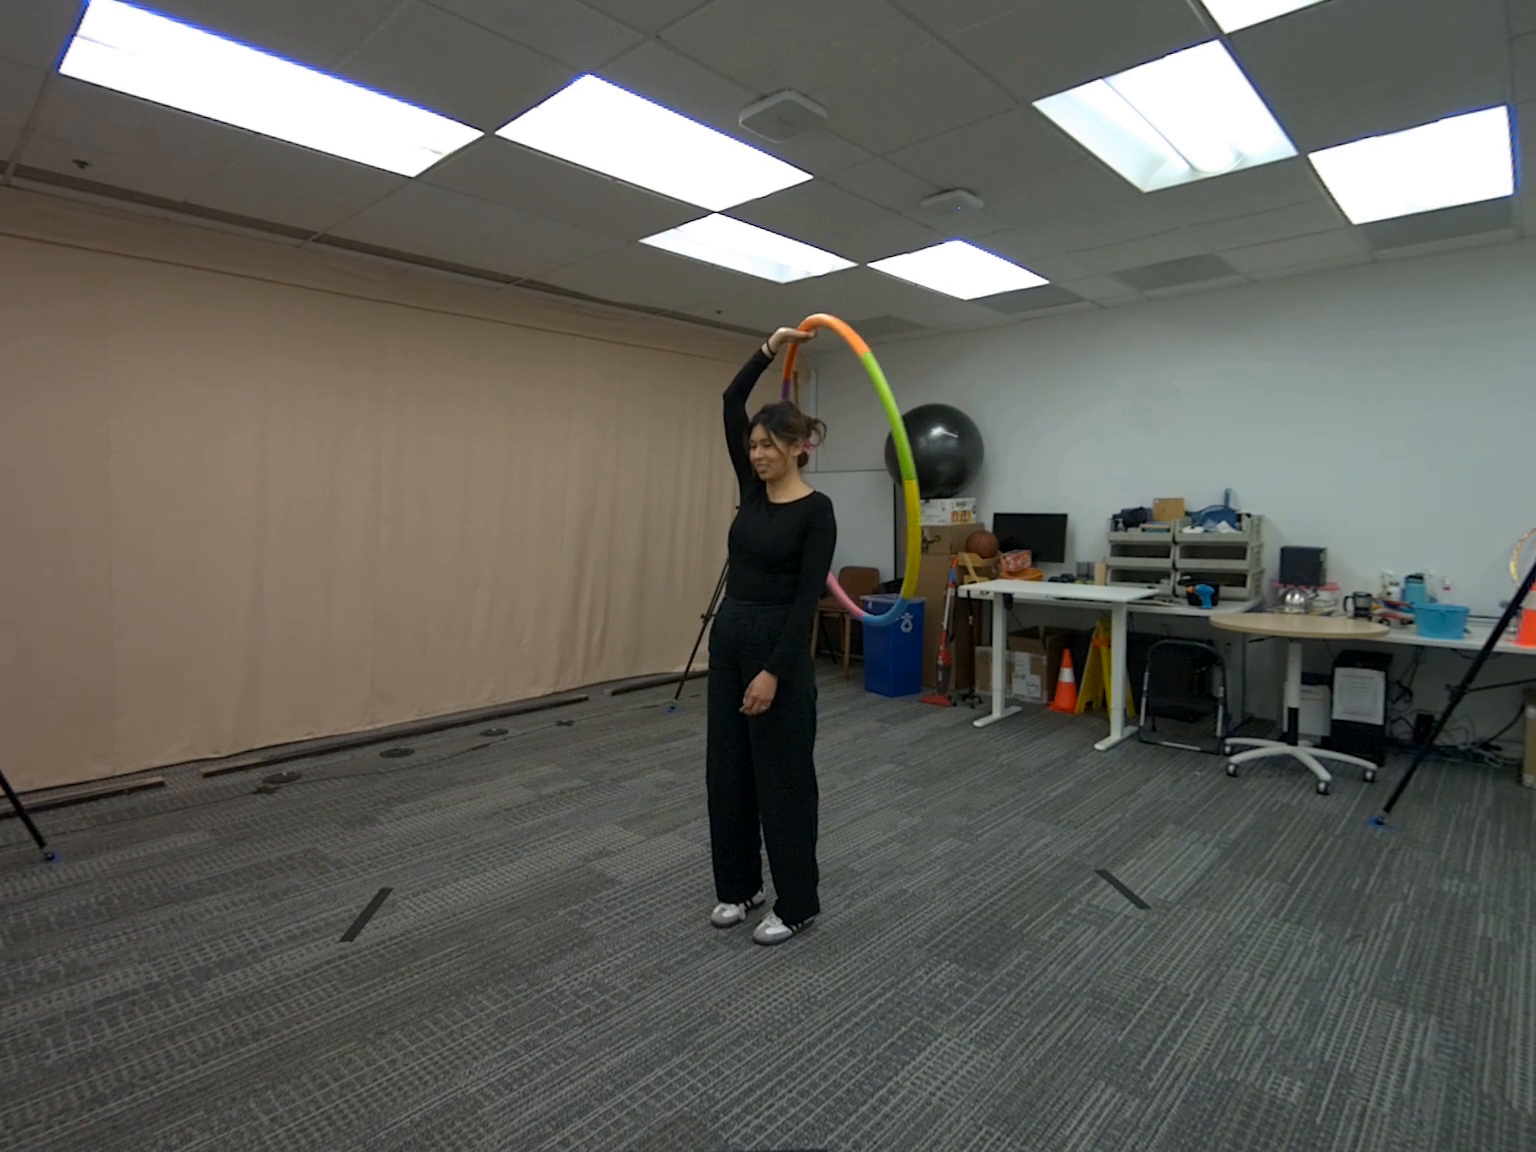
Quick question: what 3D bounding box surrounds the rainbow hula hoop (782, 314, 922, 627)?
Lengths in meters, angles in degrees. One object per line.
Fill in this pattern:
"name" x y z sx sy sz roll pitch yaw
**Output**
"rainbow hula hoop" 0.226 -0.327 2.681 0.051 0.980 1.004 -12 7 -16
